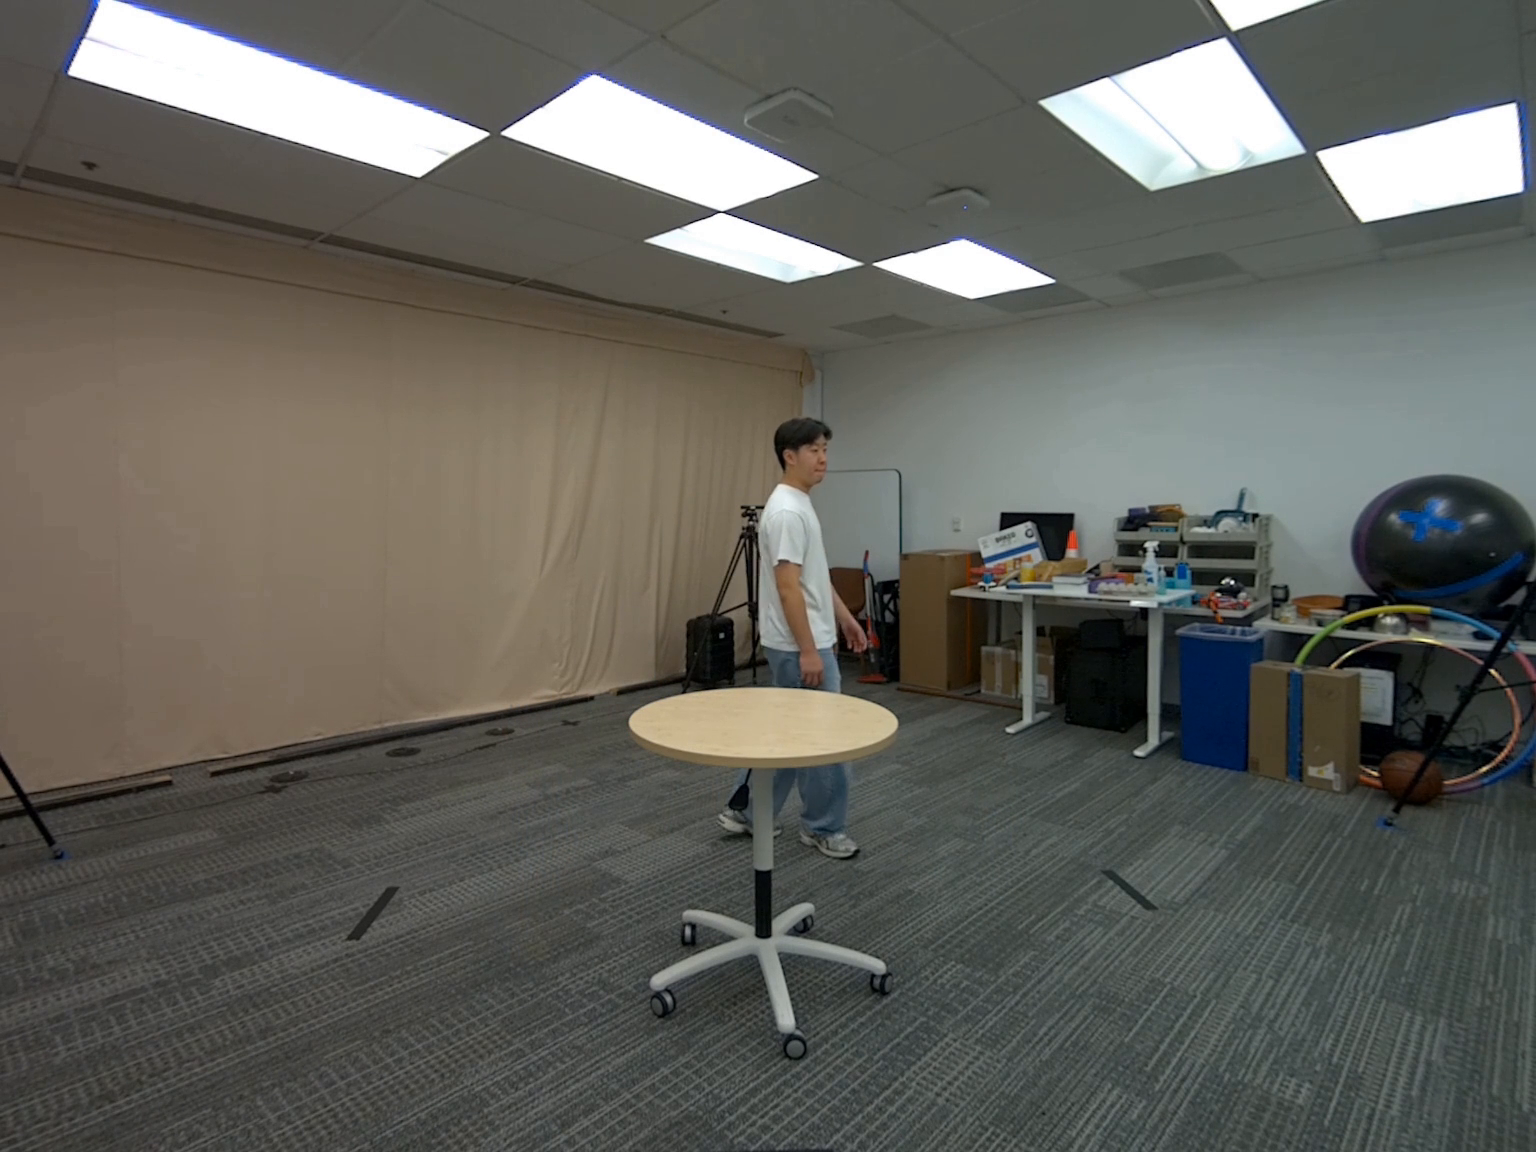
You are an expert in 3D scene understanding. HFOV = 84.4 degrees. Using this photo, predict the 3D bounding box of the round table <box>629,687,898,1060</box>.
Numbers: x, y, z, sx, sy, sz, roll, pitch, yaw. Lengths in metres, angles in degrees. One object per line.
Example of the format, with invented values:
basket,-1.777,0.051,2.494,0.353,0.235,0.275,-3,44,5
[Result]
round table,-0.028,0.797,2.439,0.784,0.785,0.788,0,4,-2
